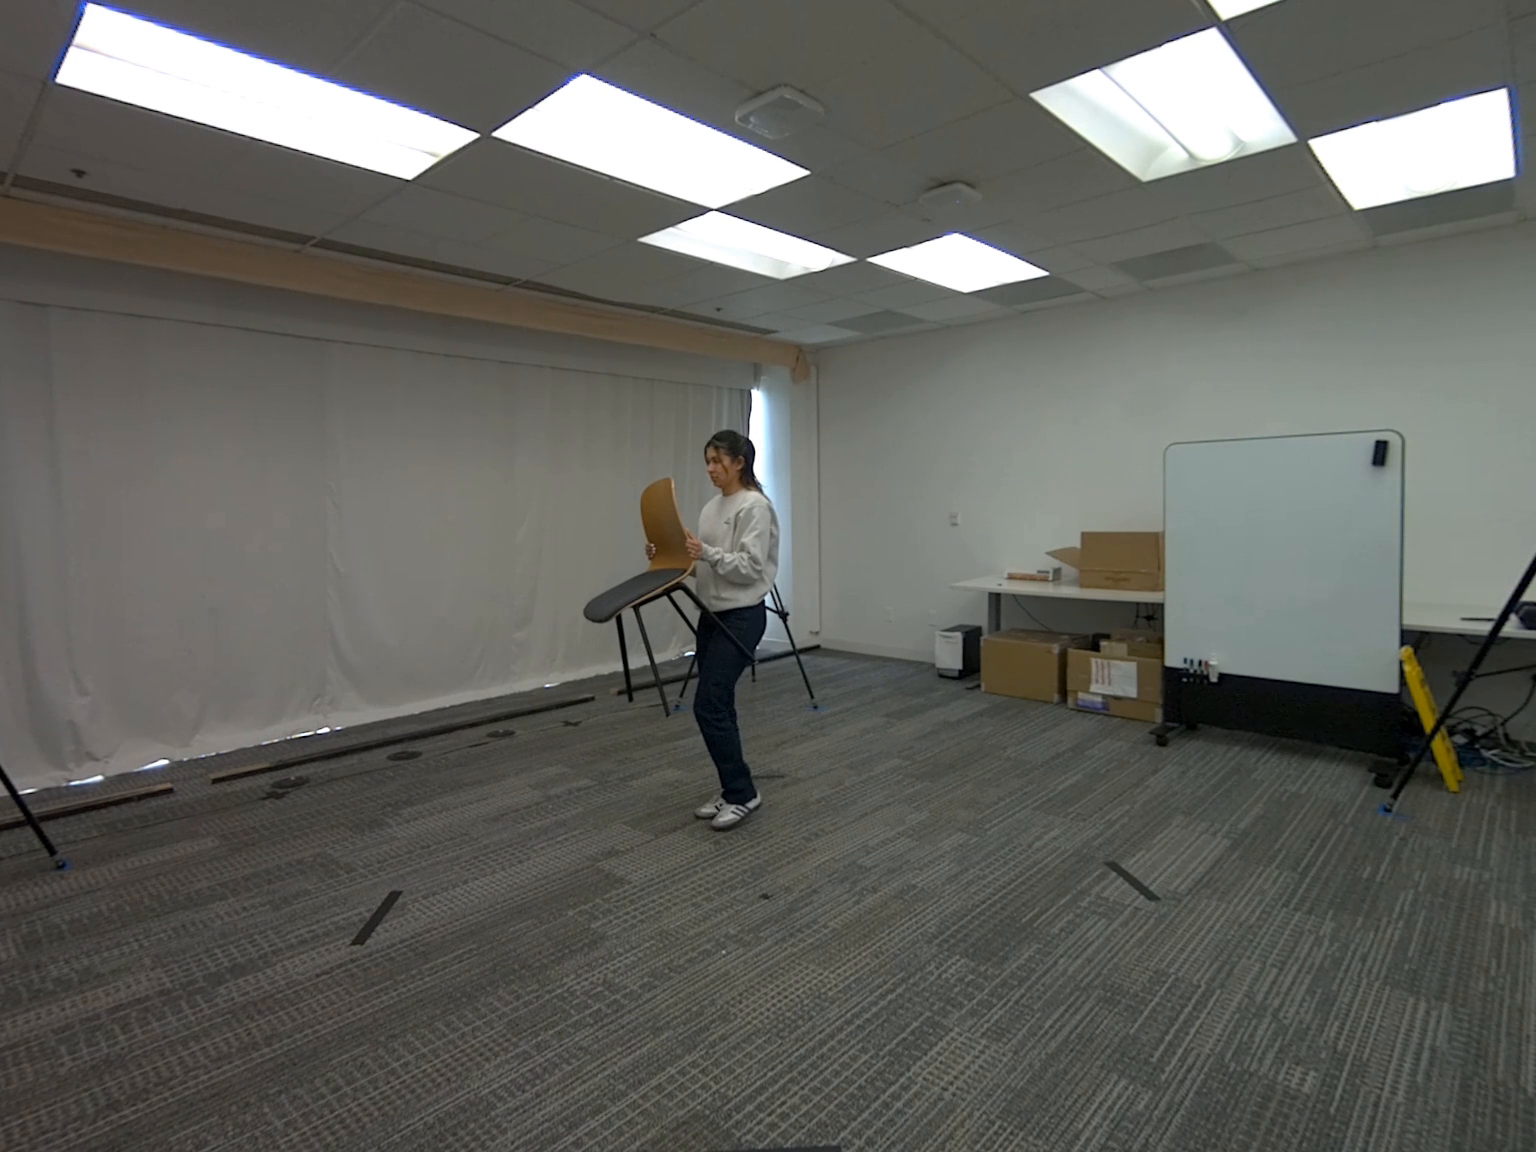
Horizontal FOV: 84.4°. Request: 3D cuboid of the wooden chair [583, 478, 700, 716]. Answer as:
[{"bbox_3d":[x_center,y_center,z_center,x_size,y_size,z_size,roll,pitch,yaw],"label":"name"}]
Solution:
[{"bbox_3d":[-0.500,0.089,3.546,0.514,0.871,0.490,-23,9,-26],"label":"wooden chair"}]
